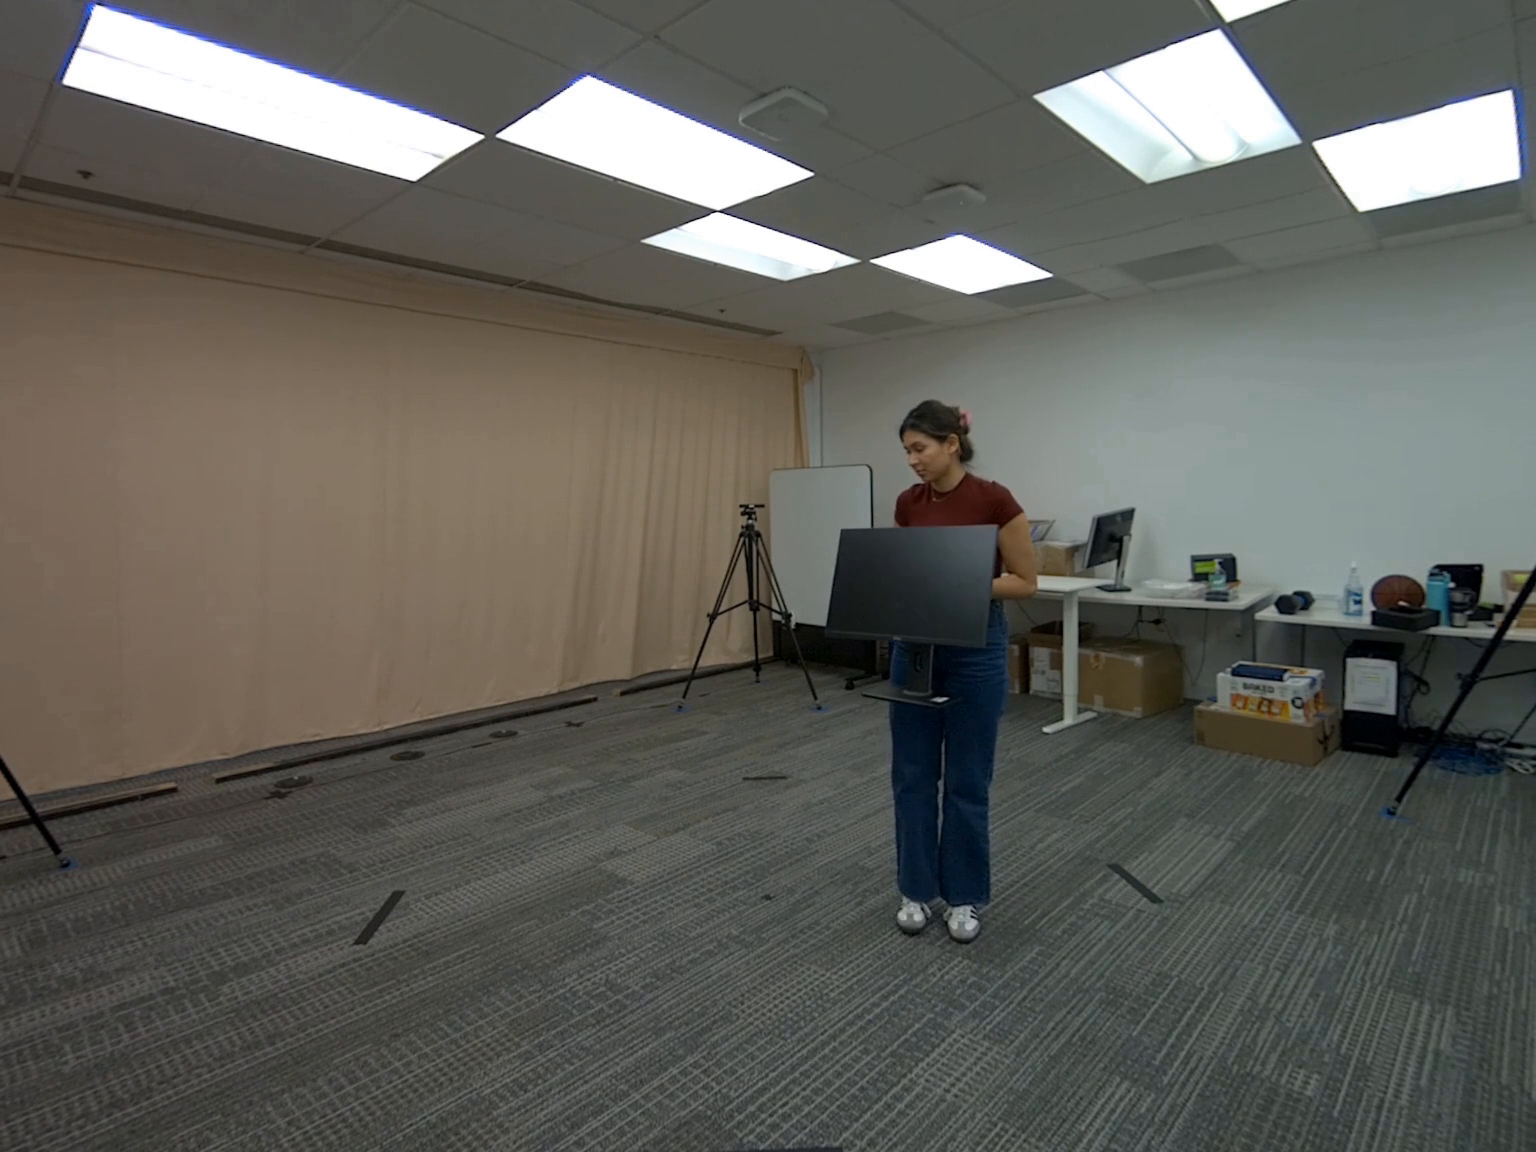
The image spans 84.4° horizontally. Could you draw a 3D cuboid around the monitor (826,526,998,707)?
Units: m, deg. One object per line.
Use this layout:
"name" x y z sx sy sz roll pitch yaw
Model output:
"monitor" 0.441 0.116 2.532 0.556 0.523 0.181 1 -1 39
